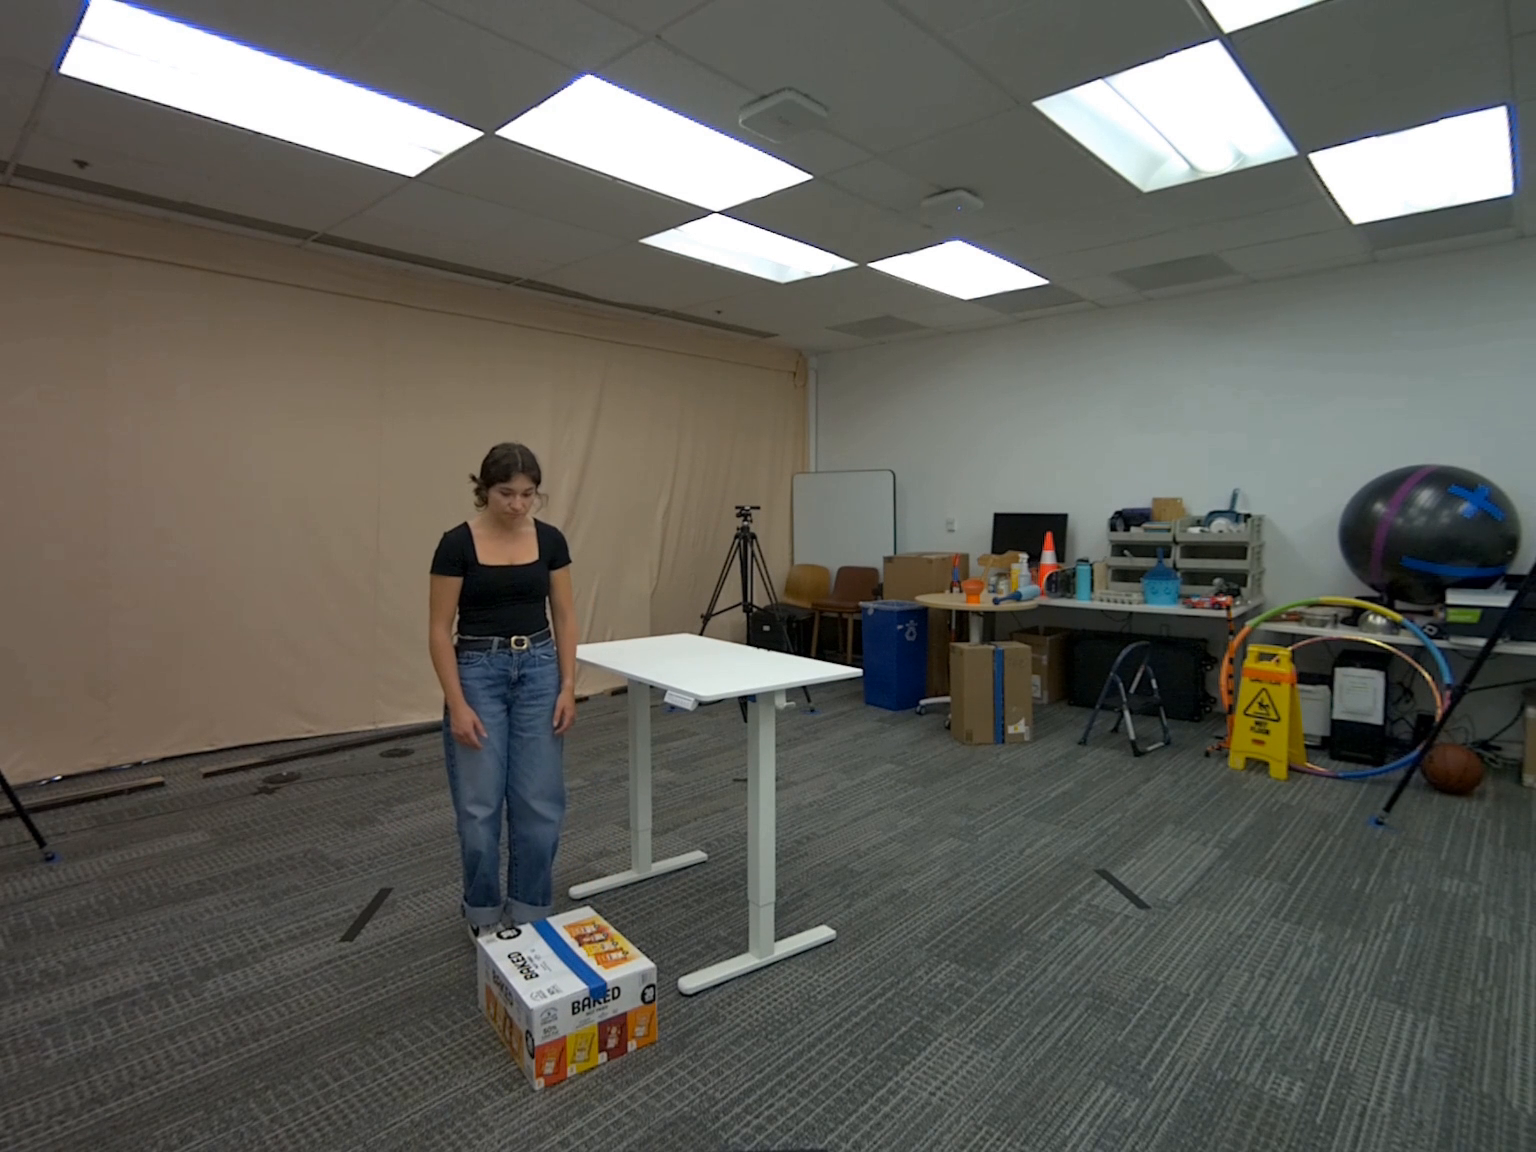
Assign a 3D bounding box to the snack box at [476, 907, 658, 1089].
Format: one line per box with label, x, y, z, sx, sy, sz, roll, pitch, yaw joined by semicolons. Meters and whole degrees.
snack box;-0.544;1.110;2.249;0.330;0.205;0.418;-3;5;-36
